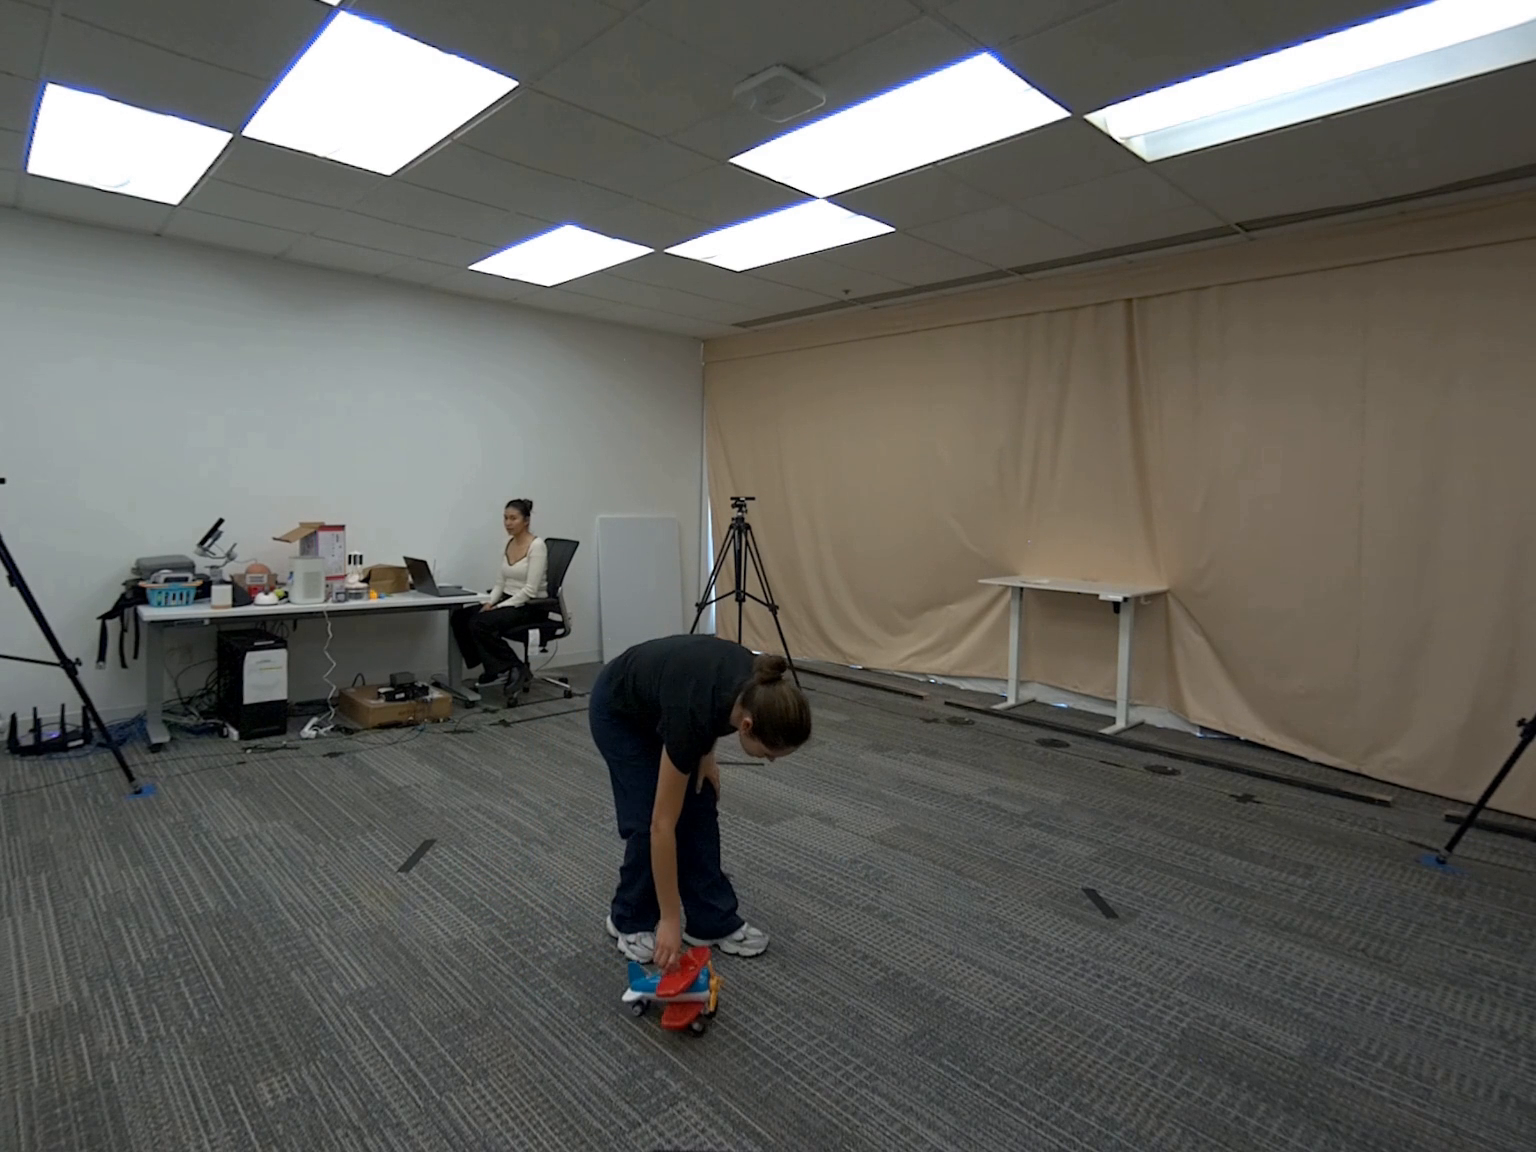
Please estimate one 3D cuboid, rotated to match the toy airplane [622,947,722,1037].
[{"bbox_3d":[-0.255,1.116,2.204,0.257,0.156,0.254,2,3,-11],"label":"toy airplane"}]
